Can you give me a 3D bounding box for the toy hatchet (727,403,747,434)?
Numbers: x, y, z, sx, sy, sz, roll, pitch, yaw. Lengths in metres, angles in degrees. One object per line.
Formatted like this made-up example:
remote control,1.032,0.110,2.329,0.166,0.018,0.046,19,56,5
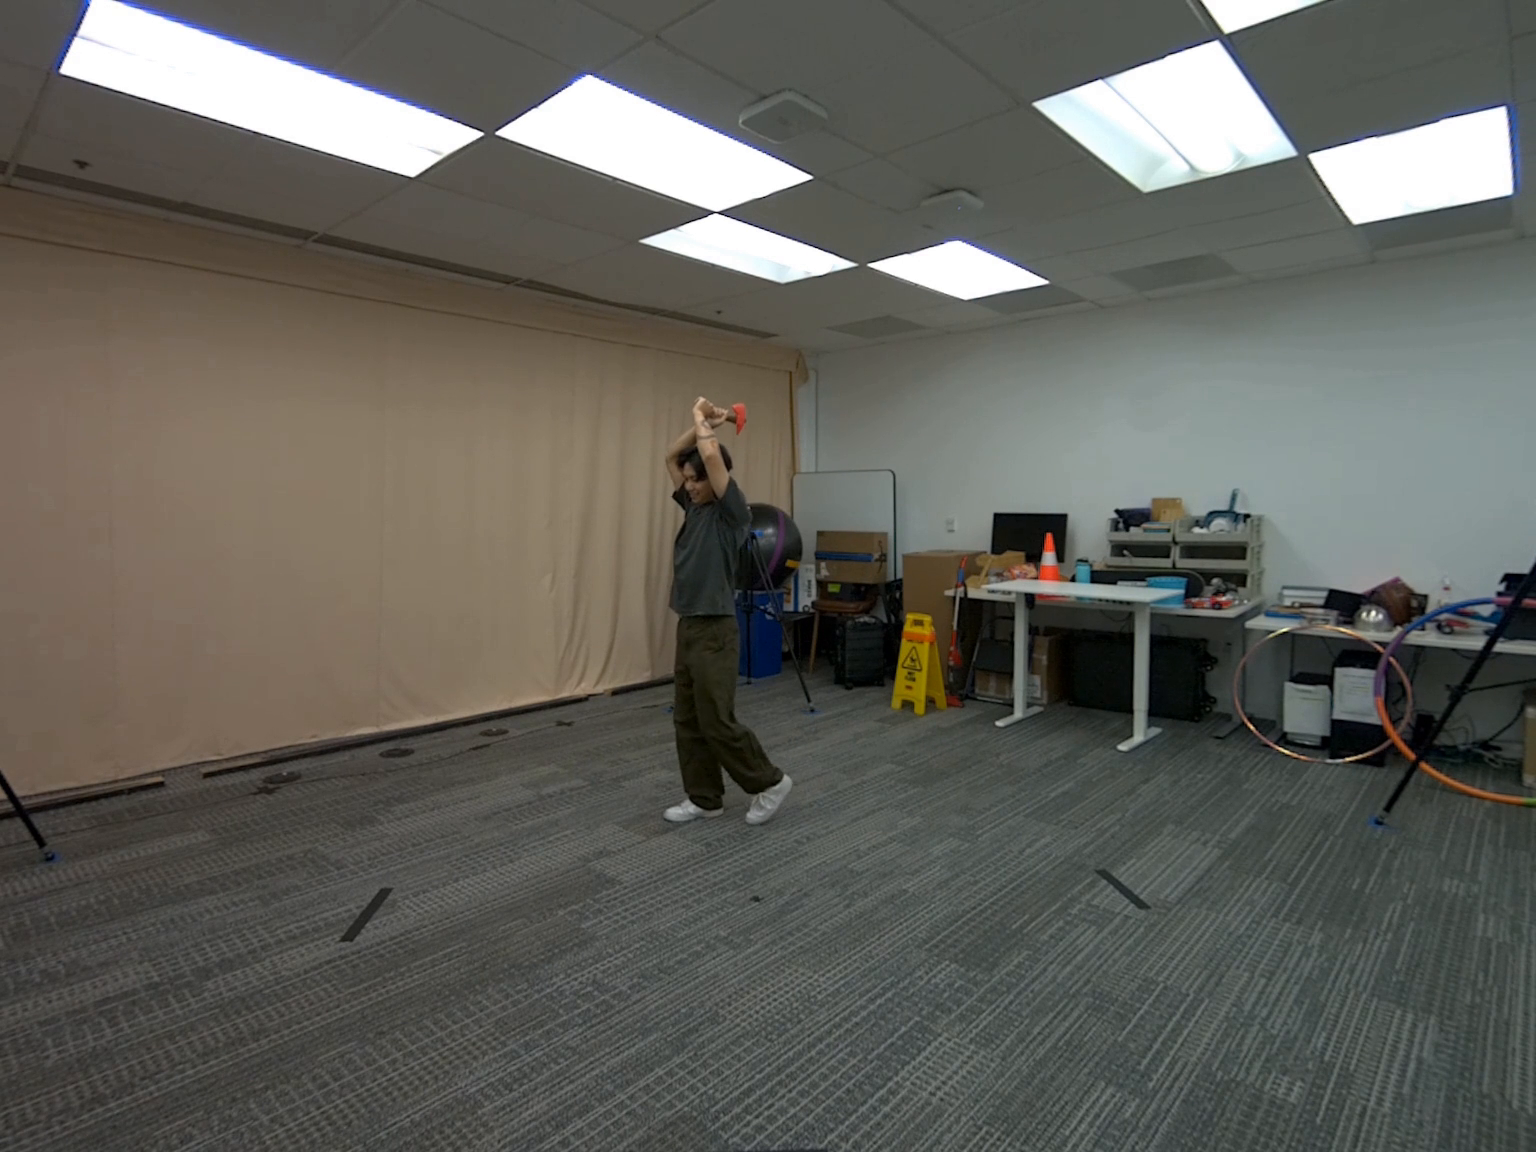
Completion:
toy hatchet,-0.206,-0.736,3.700,0.263,0.131,0.030,28,-1,-24
